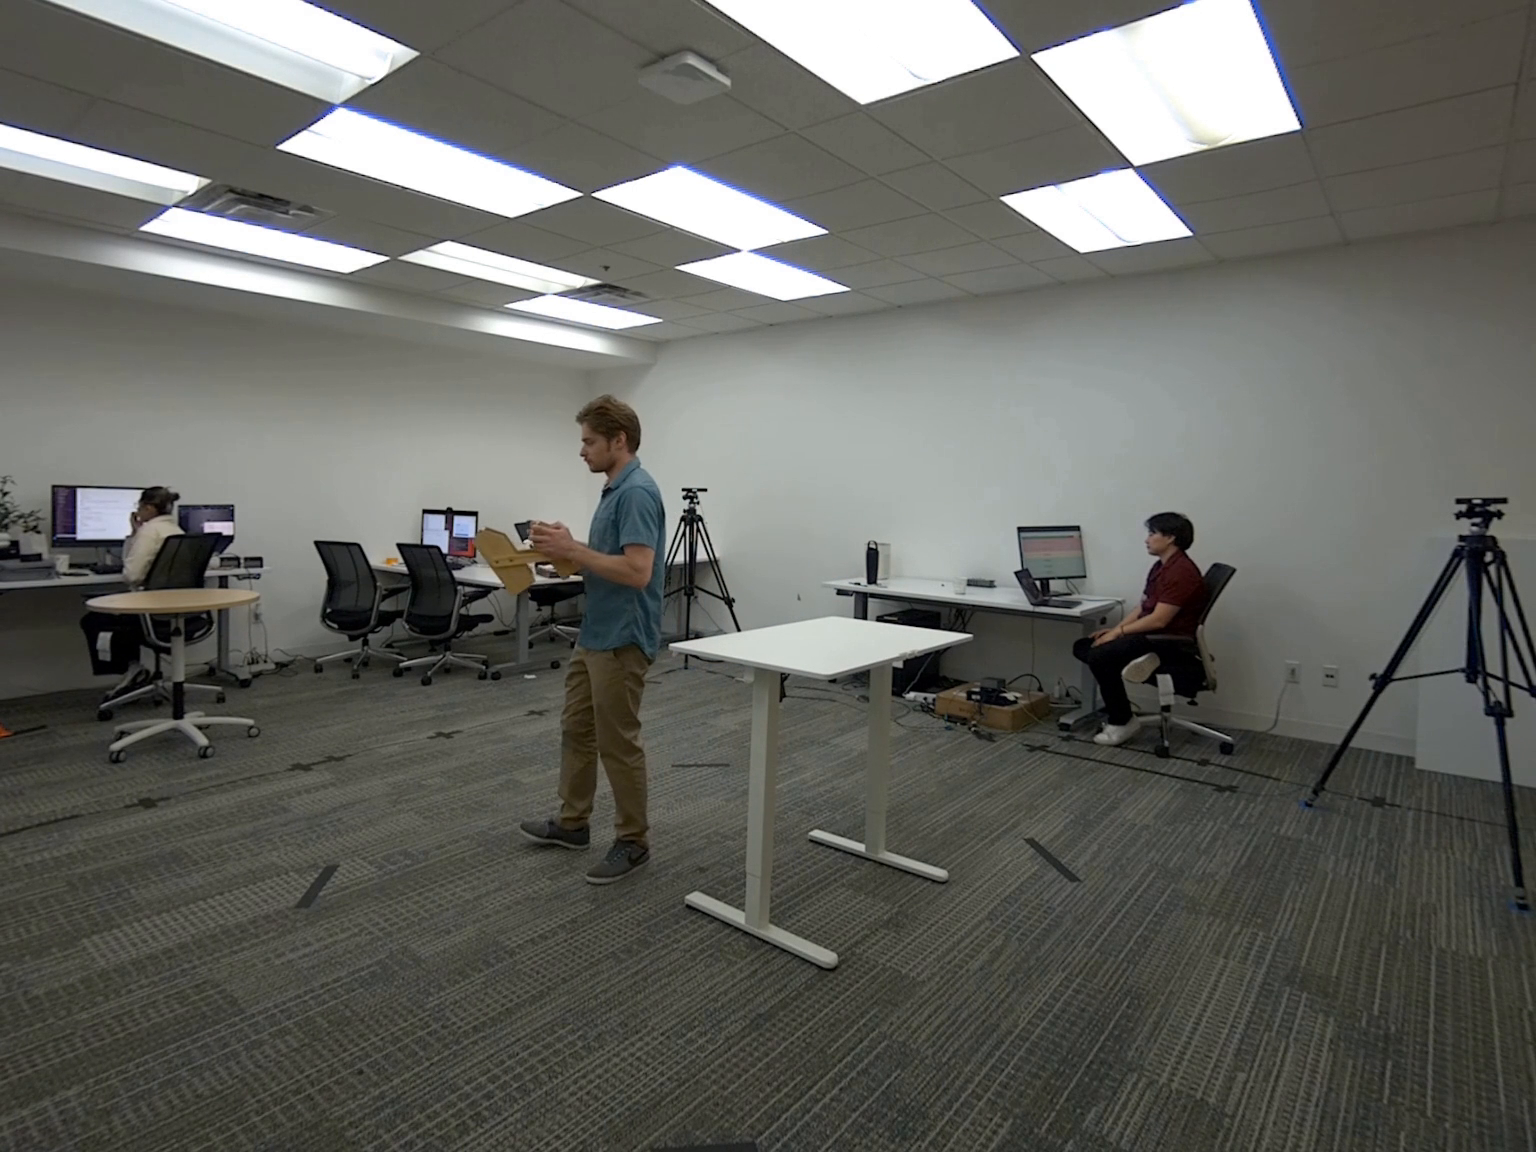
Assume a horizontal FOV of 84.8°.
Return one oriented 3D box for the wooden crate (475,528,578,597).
[{"bbox_3d":[-0.863,-0.098,3.019,0.272,0.298,0.330,-35,11,-10],"label":"wooden crate"}]
